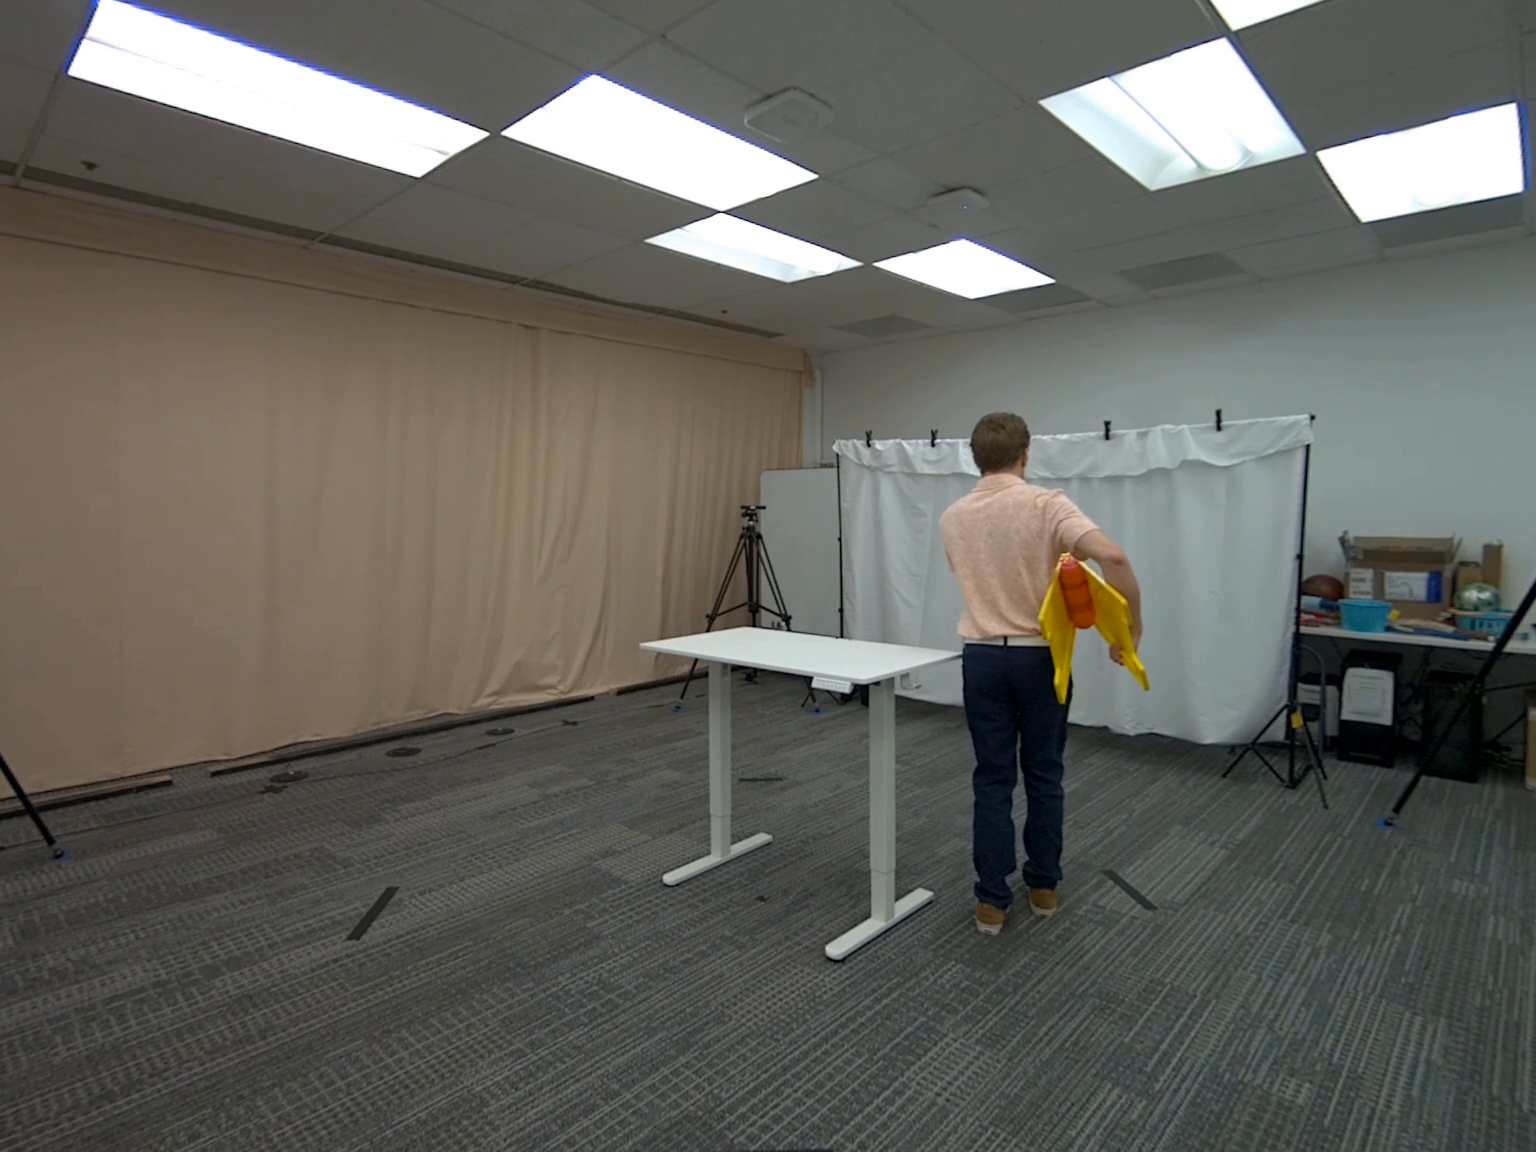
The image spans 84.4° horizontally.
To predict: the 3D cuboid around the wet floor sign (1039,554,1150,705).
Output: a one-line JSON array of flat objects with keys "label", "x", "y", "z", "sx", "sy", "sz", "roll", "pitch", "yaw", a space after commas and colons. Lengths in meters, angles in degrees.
[{"label": "wet floor sign", "x": 1.011, "y": 0.124, "z": 2.659, "sx": 0.295, "sy": 0.278, "sz": 0.643, "roll": -13, "pitch": 16, "yaw": 20}]
